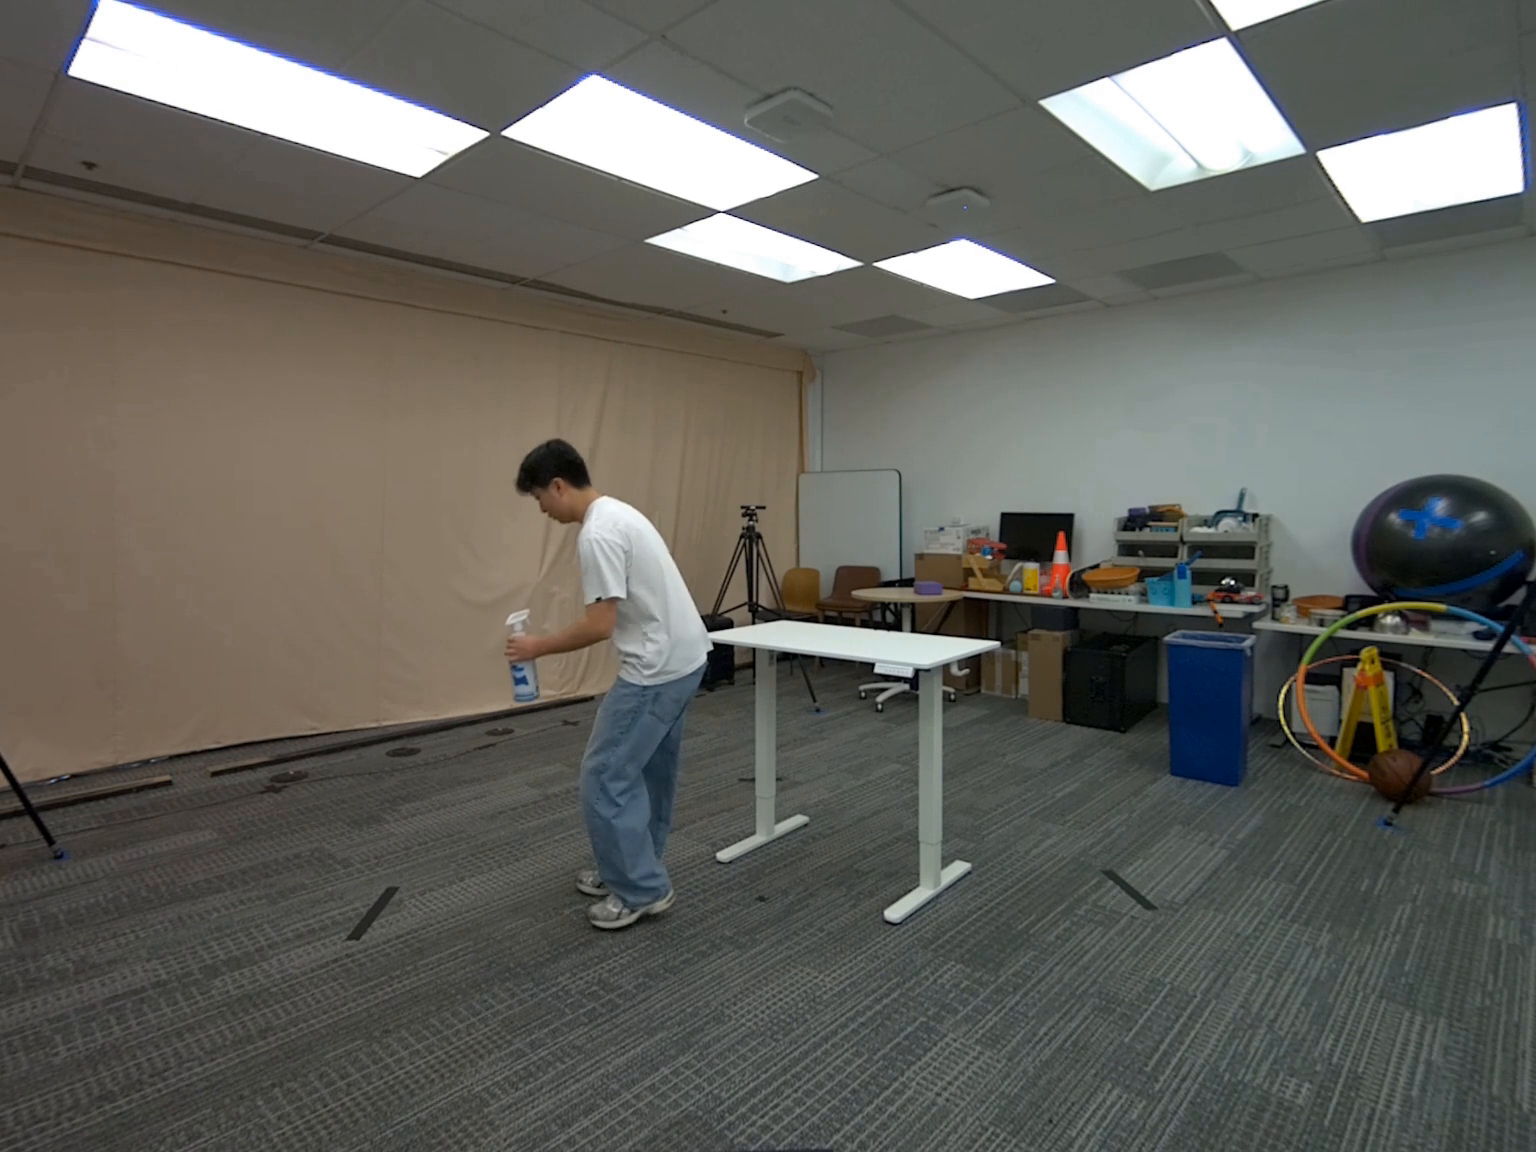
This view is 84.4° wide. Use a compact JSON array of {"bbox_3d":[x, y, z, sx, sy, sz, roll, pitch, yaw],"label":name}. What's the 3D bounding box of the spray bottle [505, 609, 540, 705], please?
[{"bbox_3d":[-0.819,0.284,2.789,0.088,0.296,0.089,-4,7,-18],"label":"spray bottle"}]
